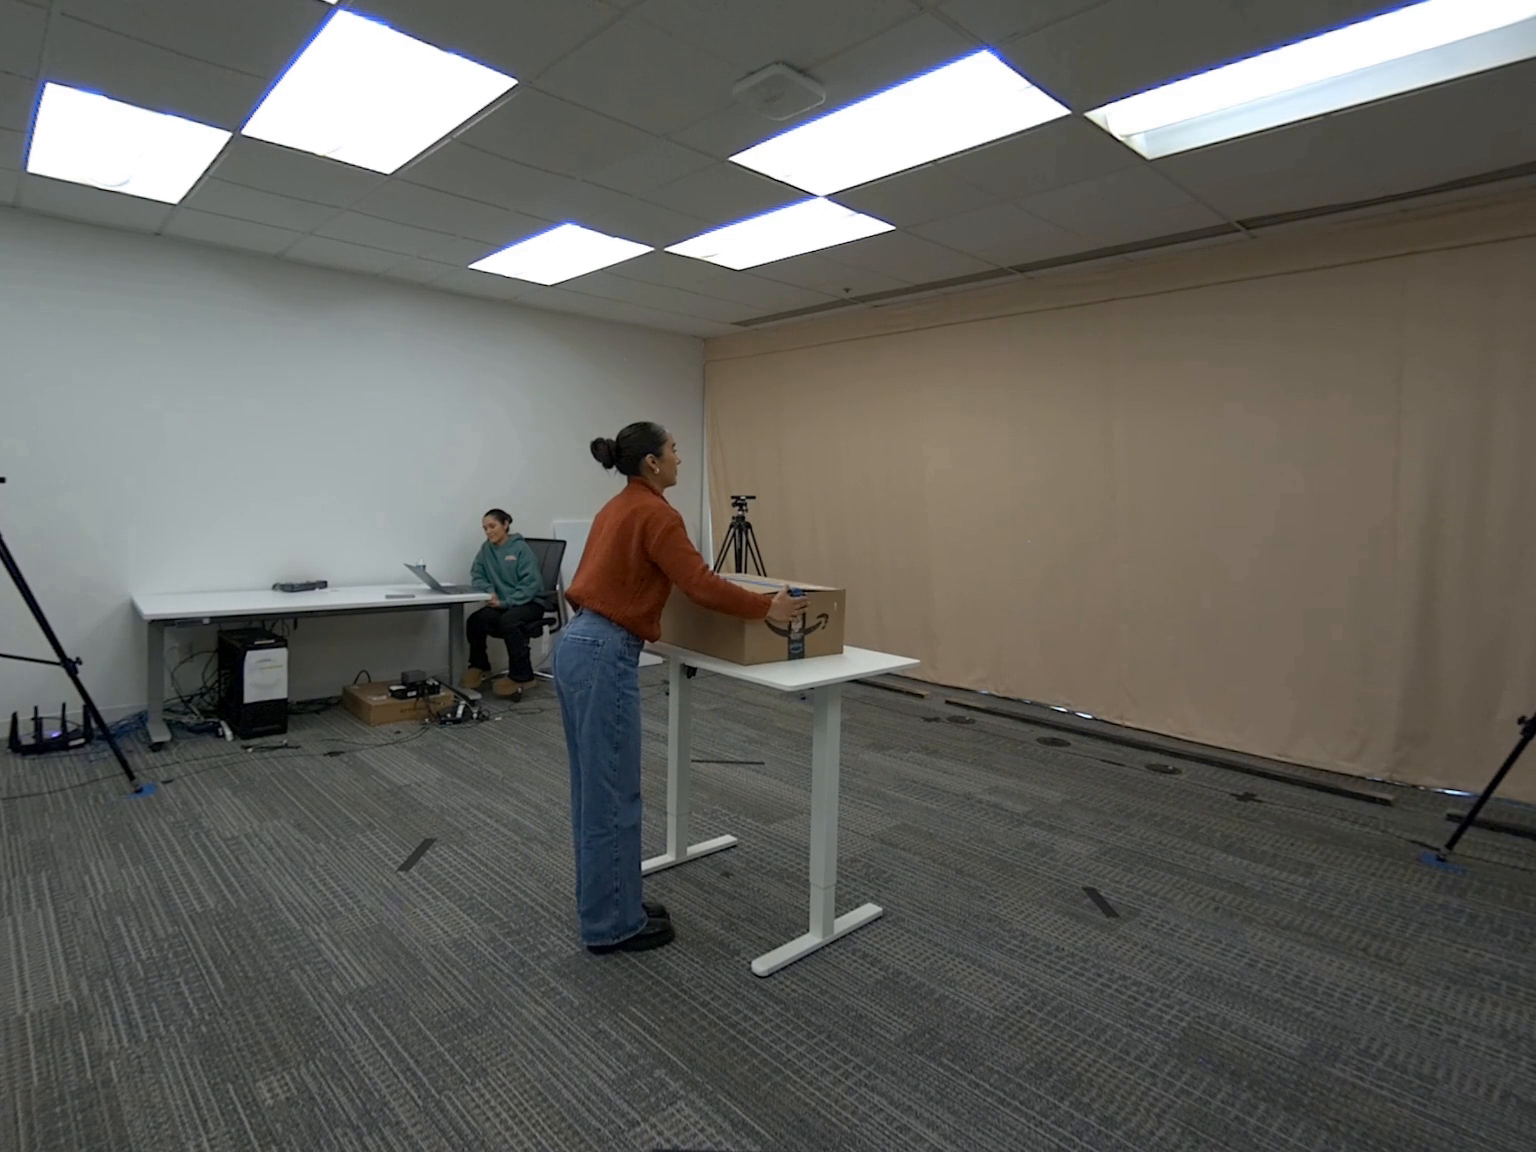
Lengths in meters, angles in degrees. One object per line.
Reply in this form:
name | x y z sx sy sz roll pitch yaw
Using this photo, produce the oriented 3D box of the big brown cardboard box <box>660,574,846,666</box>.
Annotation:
big brown cardboard box | -0.085 0.130 2.889 0.408 0.232 0.603 -2 5 -36
